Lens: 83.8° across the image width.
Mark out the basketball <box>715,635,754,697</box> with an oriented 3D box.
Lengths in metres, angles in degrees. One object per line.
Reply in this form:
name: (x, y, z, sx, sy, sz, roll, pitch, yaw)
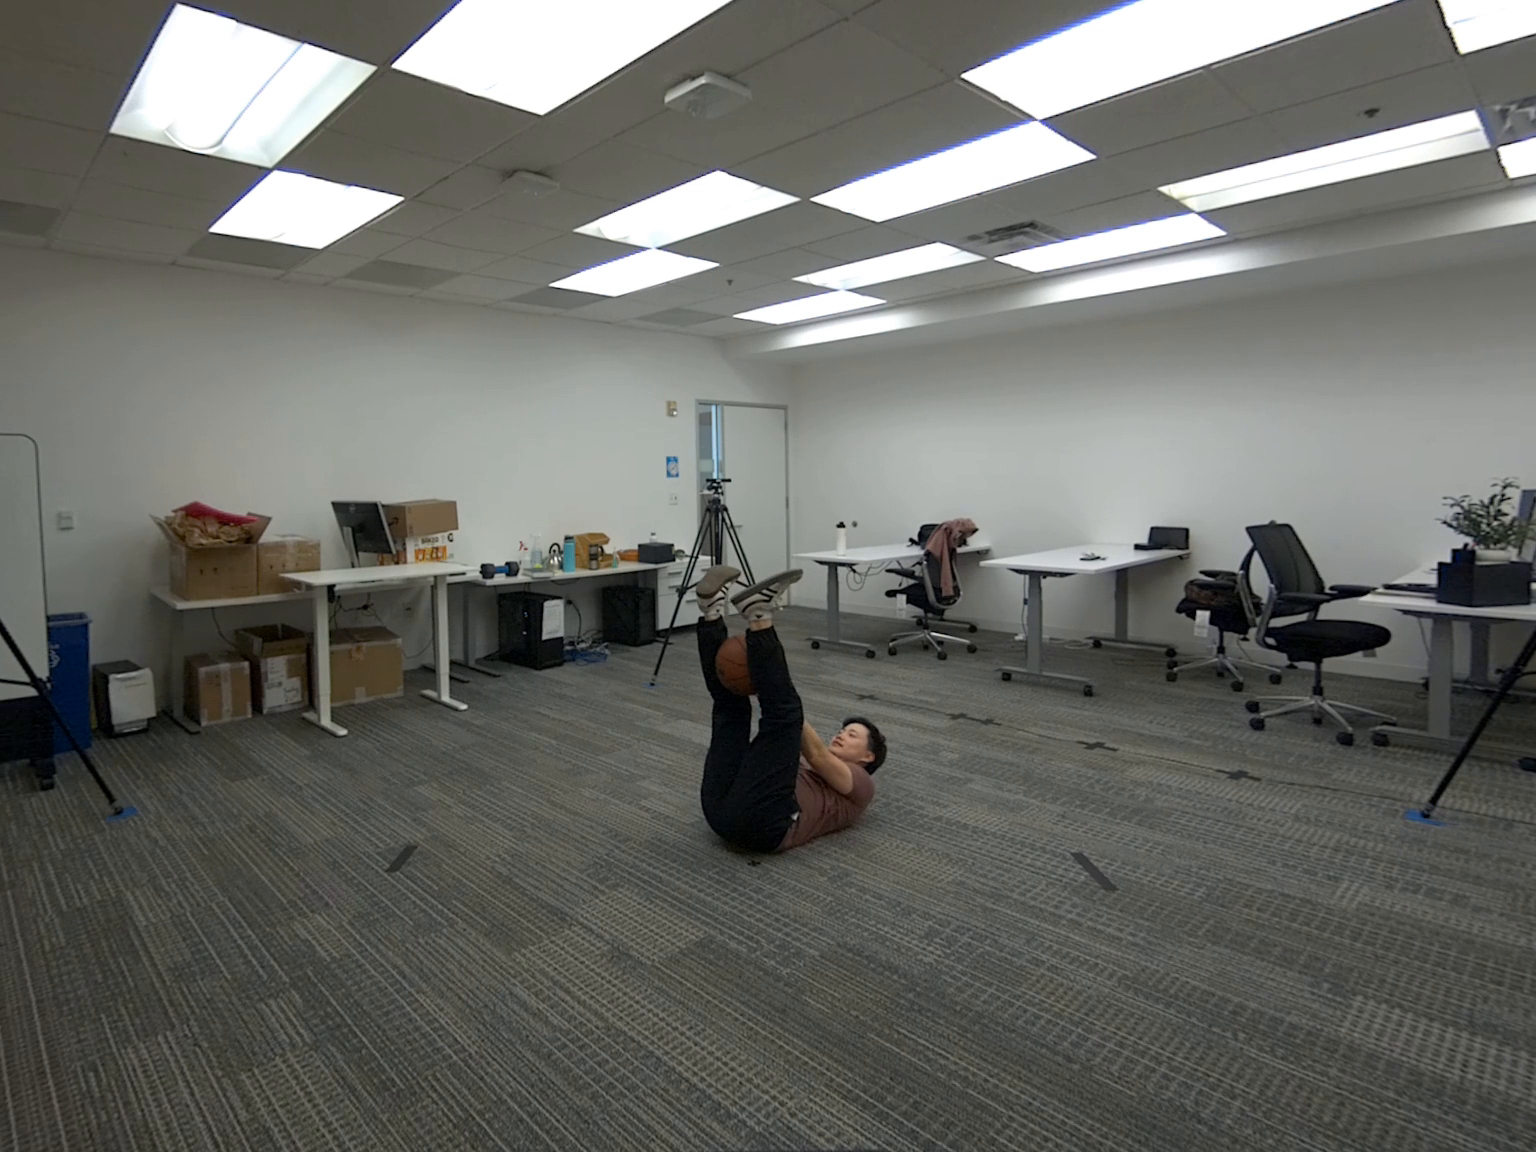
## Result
basketball: (-0.083, 0.335, 3.225, 0.236, 0.235, 0.237, -2, 5, -2)
